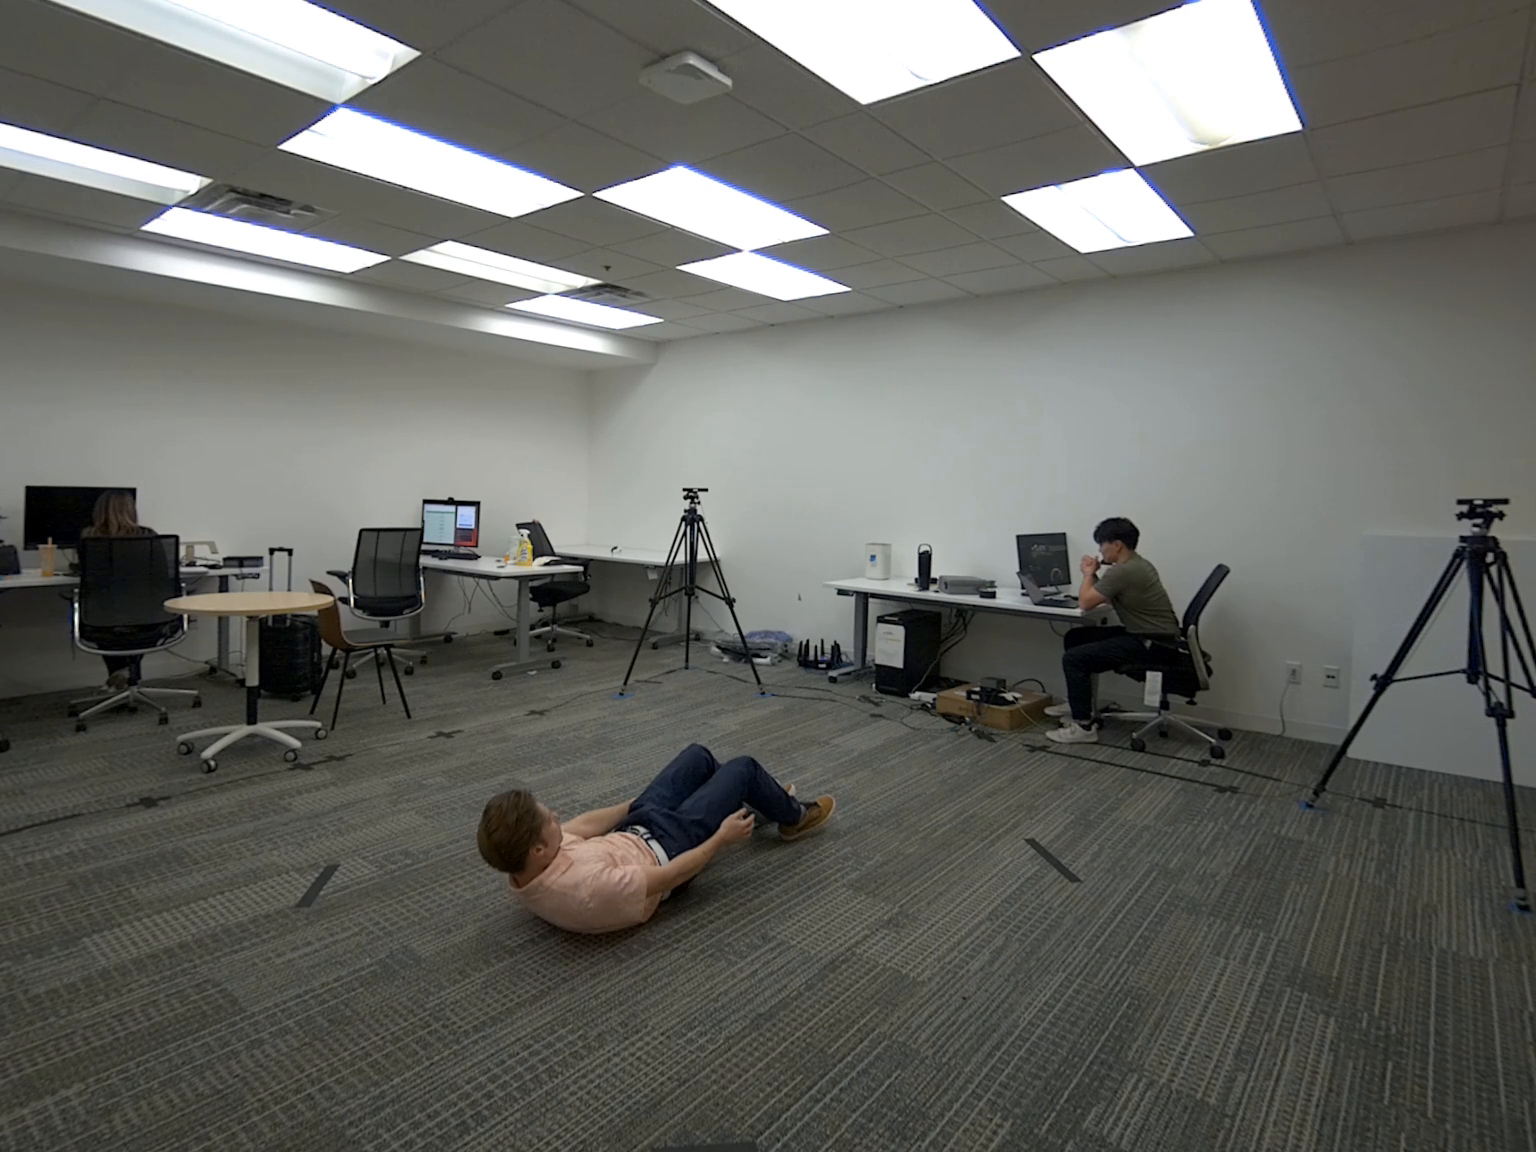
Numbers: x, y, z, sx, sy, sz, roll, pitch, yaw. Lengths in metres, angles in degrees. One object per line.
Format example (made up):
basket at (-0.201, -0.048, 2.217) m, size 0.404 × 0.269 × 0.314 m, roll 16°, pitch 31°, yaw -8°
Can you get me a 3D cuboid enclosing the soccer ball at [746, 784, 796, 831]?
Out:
soccer ball at (-0.024, 0.893, 3.395) m, size 0.187 × 0.187 × 0.188 m, roll 1°, pitch 4°, yaw -2°
